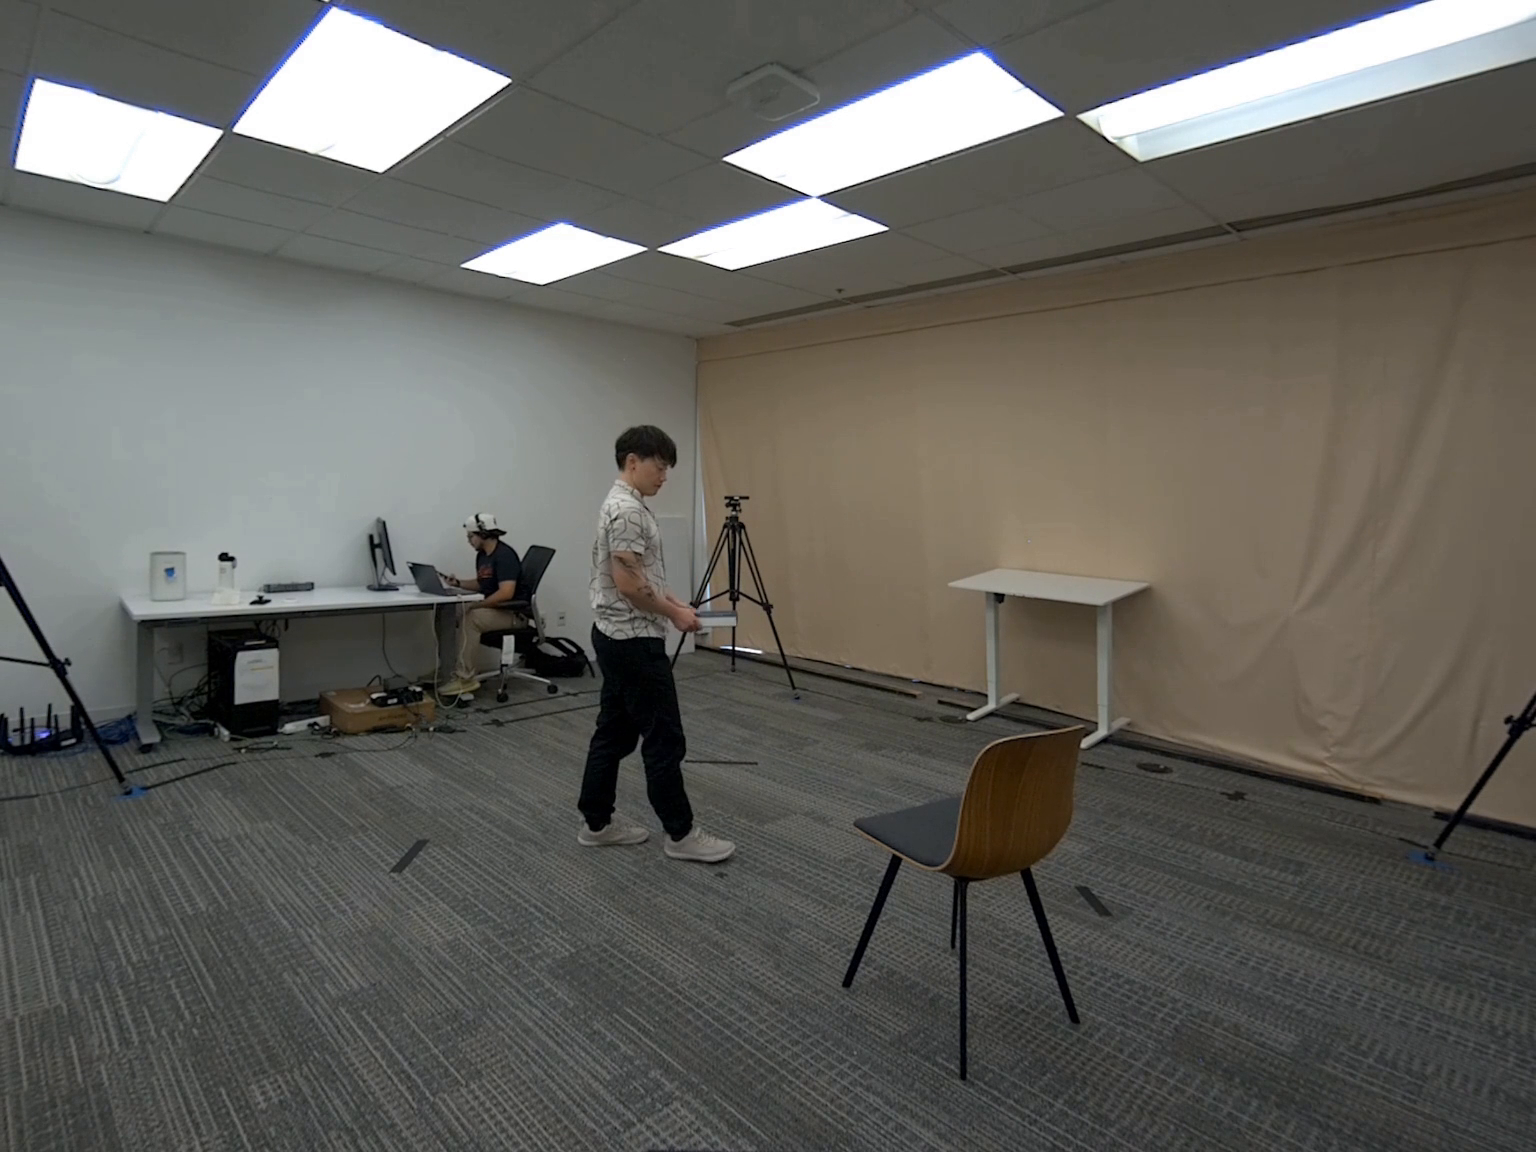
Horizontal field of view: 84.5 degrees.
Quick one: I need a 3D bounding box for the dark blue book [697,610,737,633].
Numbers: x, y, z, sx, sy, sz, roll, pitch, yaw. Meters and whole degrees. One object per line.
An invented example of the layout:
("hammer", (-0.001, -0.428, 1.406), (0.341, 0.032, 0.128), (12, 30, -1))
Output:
("dark blue book", (-0.274, 0.171, 3.336), (0.245, 0.045, 0.164), (-1, 7, 2))
